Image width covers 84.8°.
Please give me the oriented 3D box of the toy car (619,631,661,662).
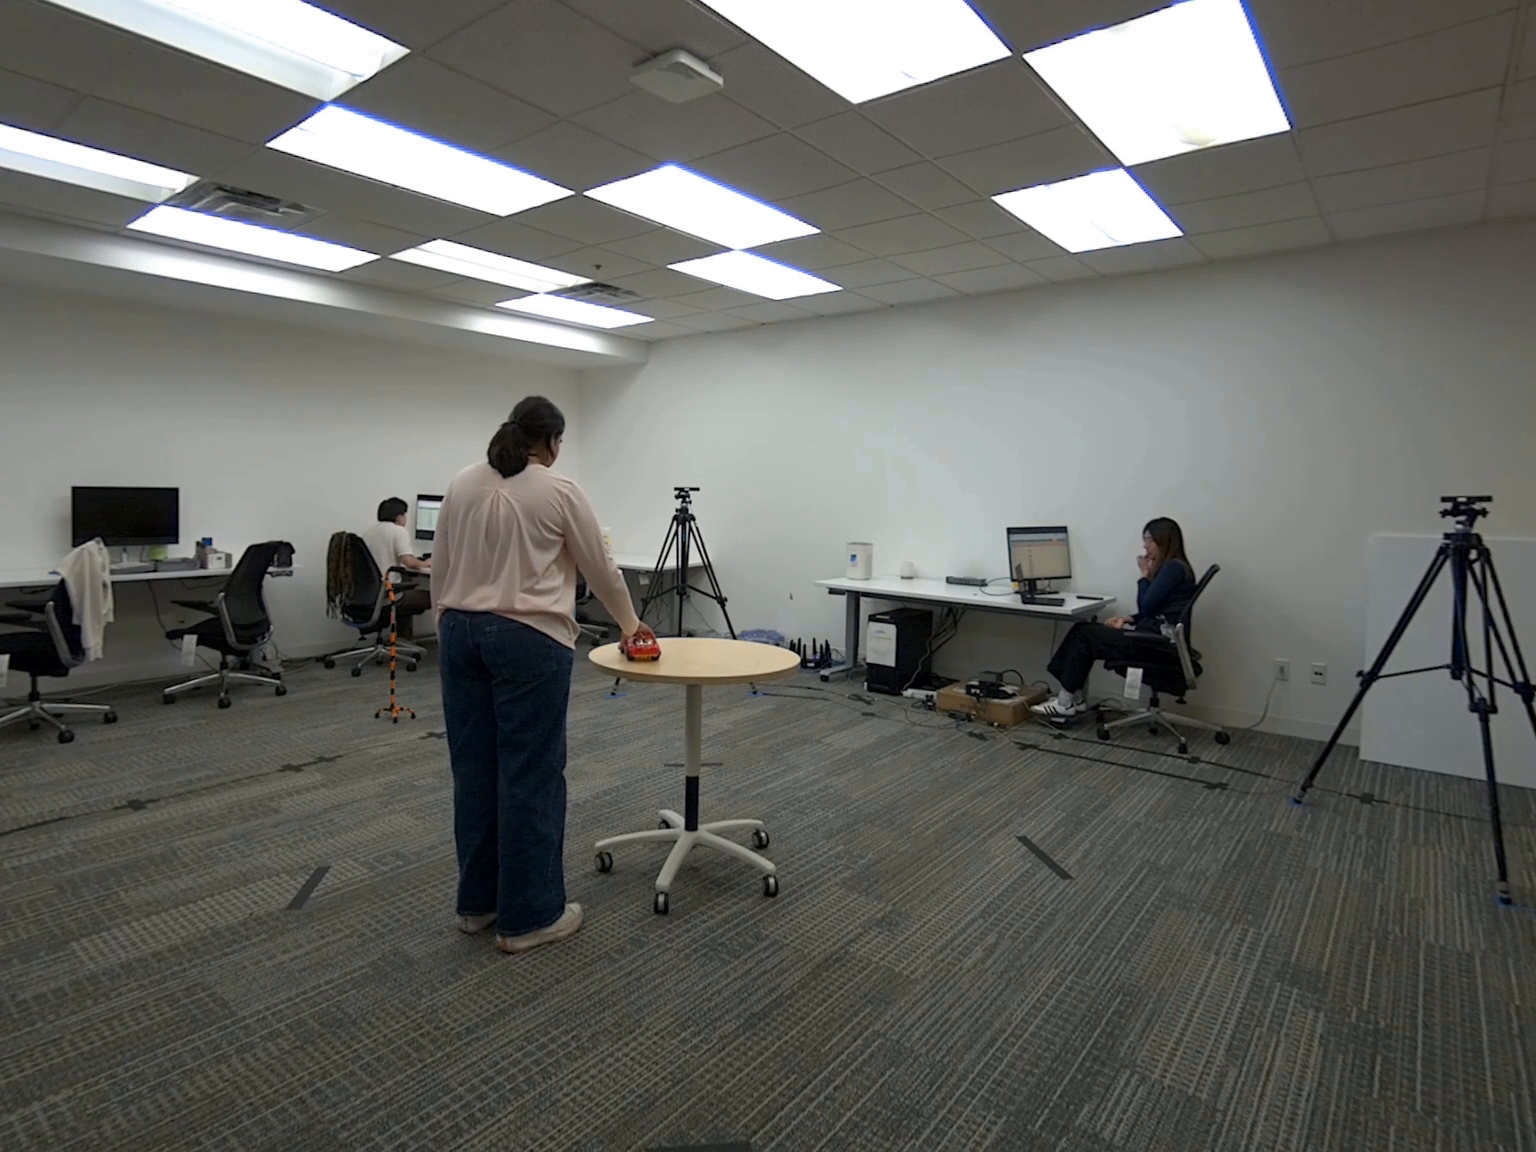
[{"bbox_3d":[-0.461,0.256,3.017,0.128,0.084,0.257,0,-6,-17],"label":"toy car"}]
